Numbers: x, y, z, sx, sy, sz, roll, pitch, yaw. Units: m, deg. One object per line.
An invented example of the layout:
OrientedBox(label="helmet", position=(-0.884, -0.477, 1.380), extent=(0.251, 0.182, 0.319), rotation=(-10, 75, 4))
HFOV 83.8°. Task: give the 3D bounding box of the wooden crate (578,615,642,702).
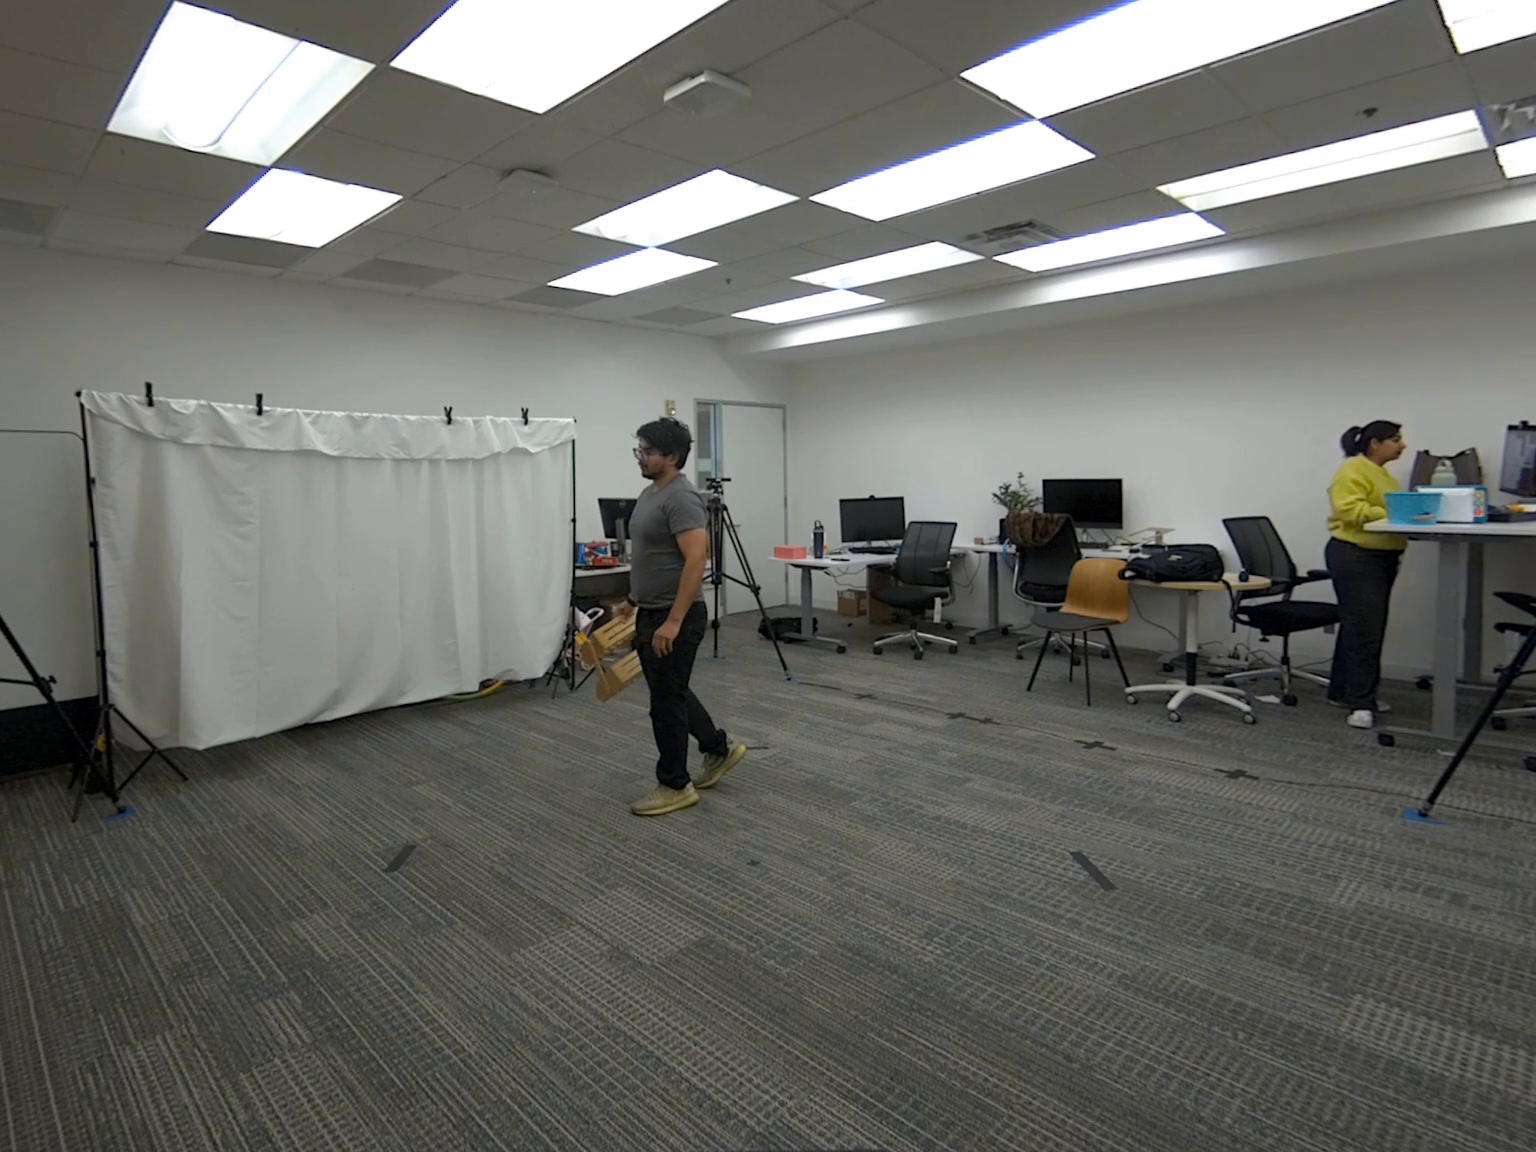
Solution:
OrientedBox(label="wooden crate", position=(-0.694, 0.366, 4.011), extent=(0.321, 0.276, 0.302), rotation=(-34, -8, -46))
